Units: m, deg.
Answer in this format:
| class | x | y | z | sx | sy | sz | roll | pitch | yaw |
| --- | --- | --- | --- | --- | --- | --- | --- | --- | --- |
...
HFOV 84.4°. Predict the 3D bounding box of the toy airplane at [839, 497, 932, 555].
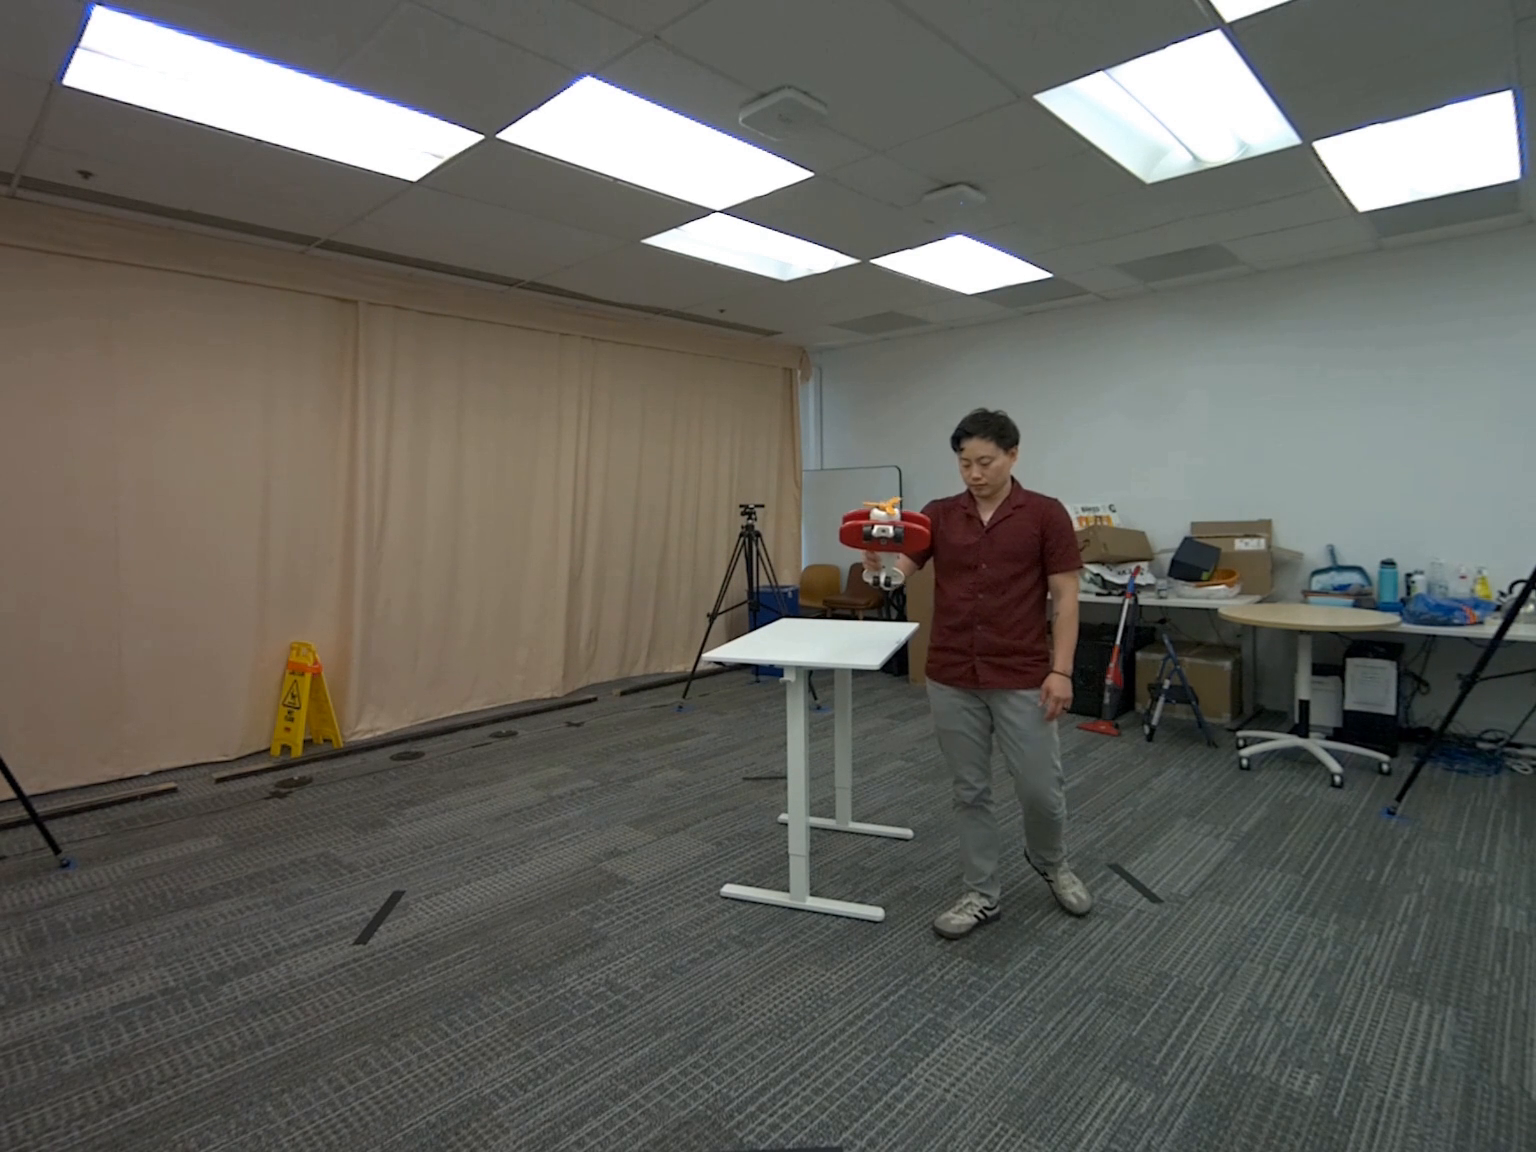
| class | x | y | z | sx | sy | sz | roll | pitch | yaw |
| --- | --- | --- | --- | --- | --- | --- | --- | --- | --- |
| toy airplane | 0.329 | -0.092 | 2.459 | 0.249 | 0.259 | 0.158 | 23 | 44 | -6 |
